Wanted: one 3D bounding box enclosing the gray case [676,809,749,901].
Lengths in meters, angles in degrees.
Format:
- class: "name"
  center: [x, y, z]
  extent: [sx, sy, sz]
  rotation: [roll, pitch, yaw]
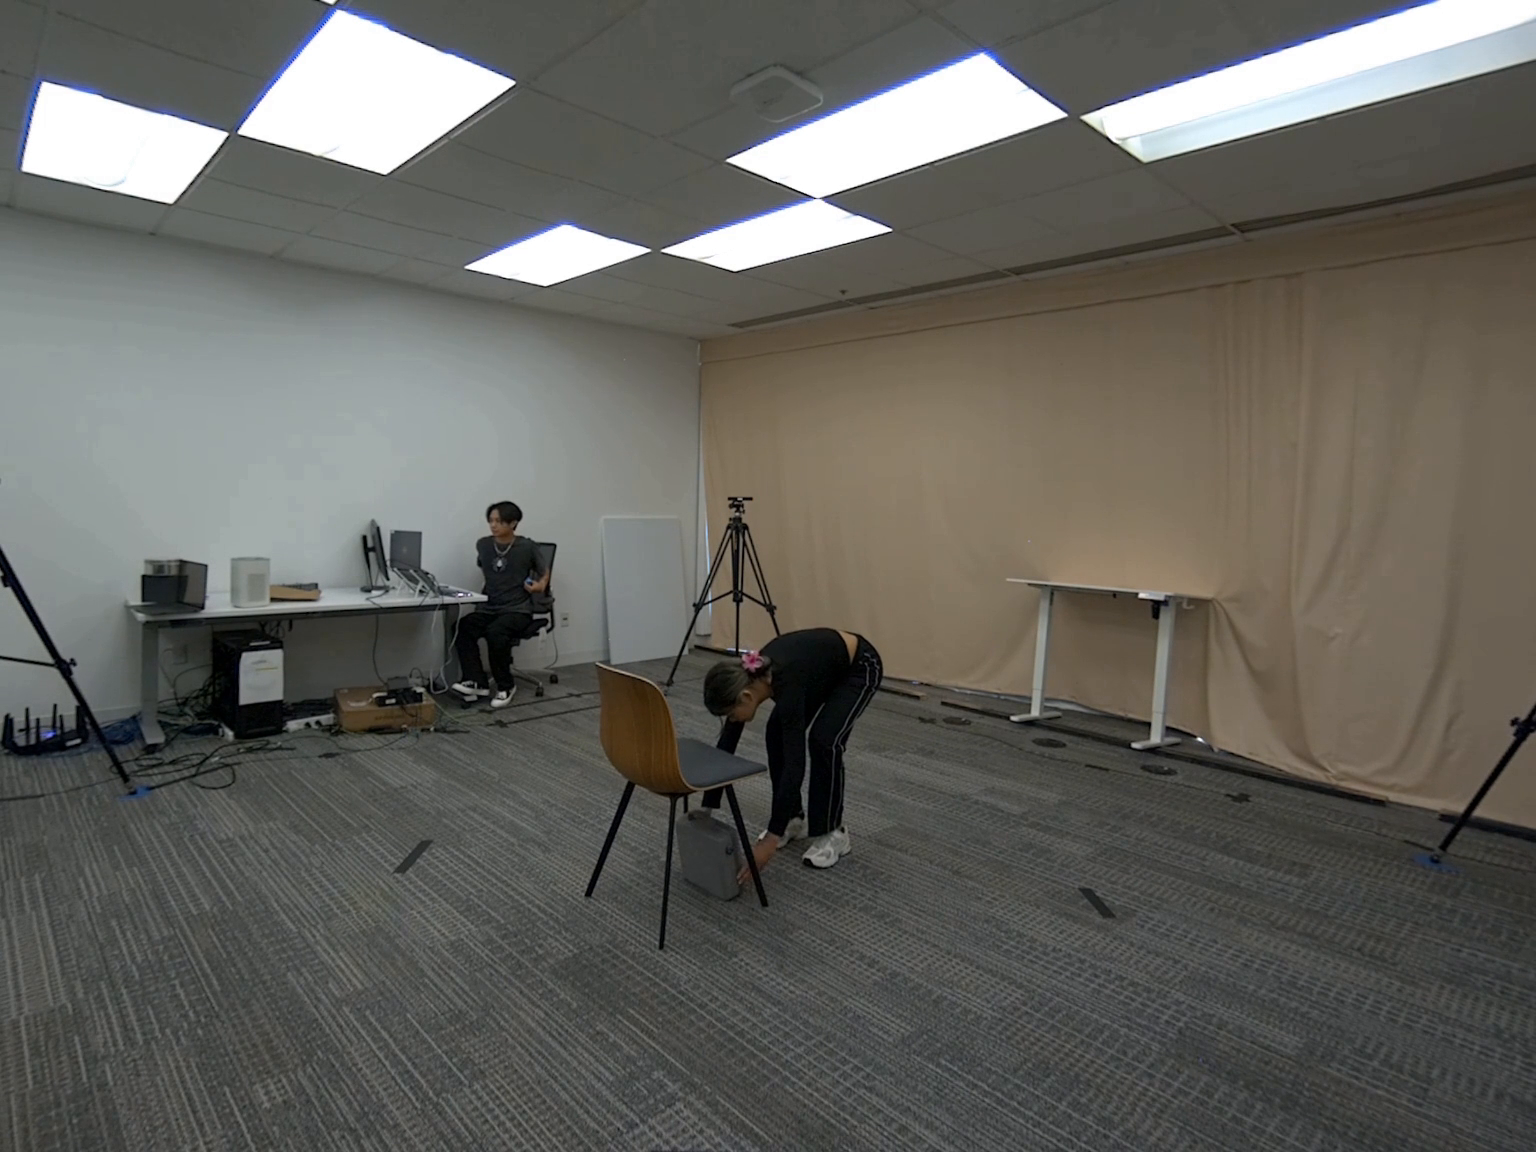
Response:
- class: "gray case"
  center: [-0.213, 0.979, 2.989]
  extent: [0.103, 0.258, 0.263]
  rotation: [-19, 17, -41]
